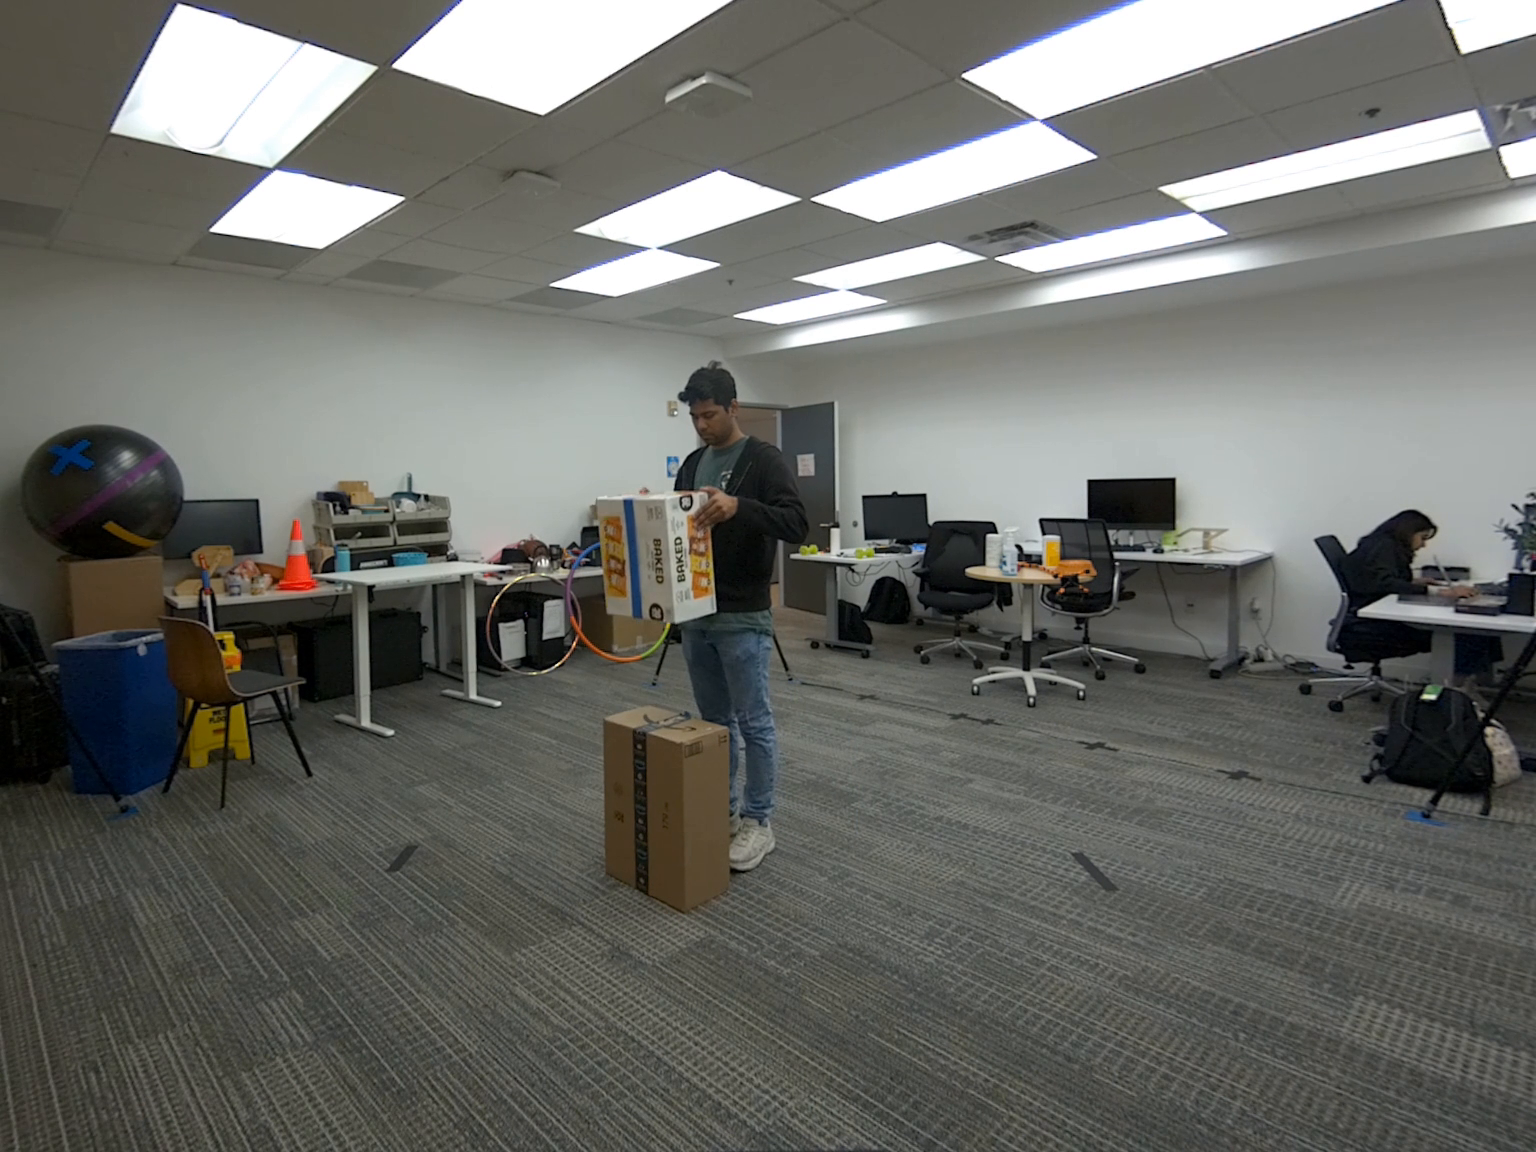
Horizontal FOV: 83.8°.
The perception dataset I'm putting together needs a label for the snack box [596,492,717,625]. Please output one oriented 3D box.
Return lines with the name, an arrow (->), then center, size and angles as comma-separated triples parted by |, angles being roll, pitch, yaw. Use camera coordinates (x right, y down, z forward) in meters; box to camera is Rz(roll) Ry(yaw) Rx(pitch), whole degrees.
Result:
snack box -> -0.373, -0.068, 2.889 | 0.350, 0.402, 0.201 | 3, 10, 42
